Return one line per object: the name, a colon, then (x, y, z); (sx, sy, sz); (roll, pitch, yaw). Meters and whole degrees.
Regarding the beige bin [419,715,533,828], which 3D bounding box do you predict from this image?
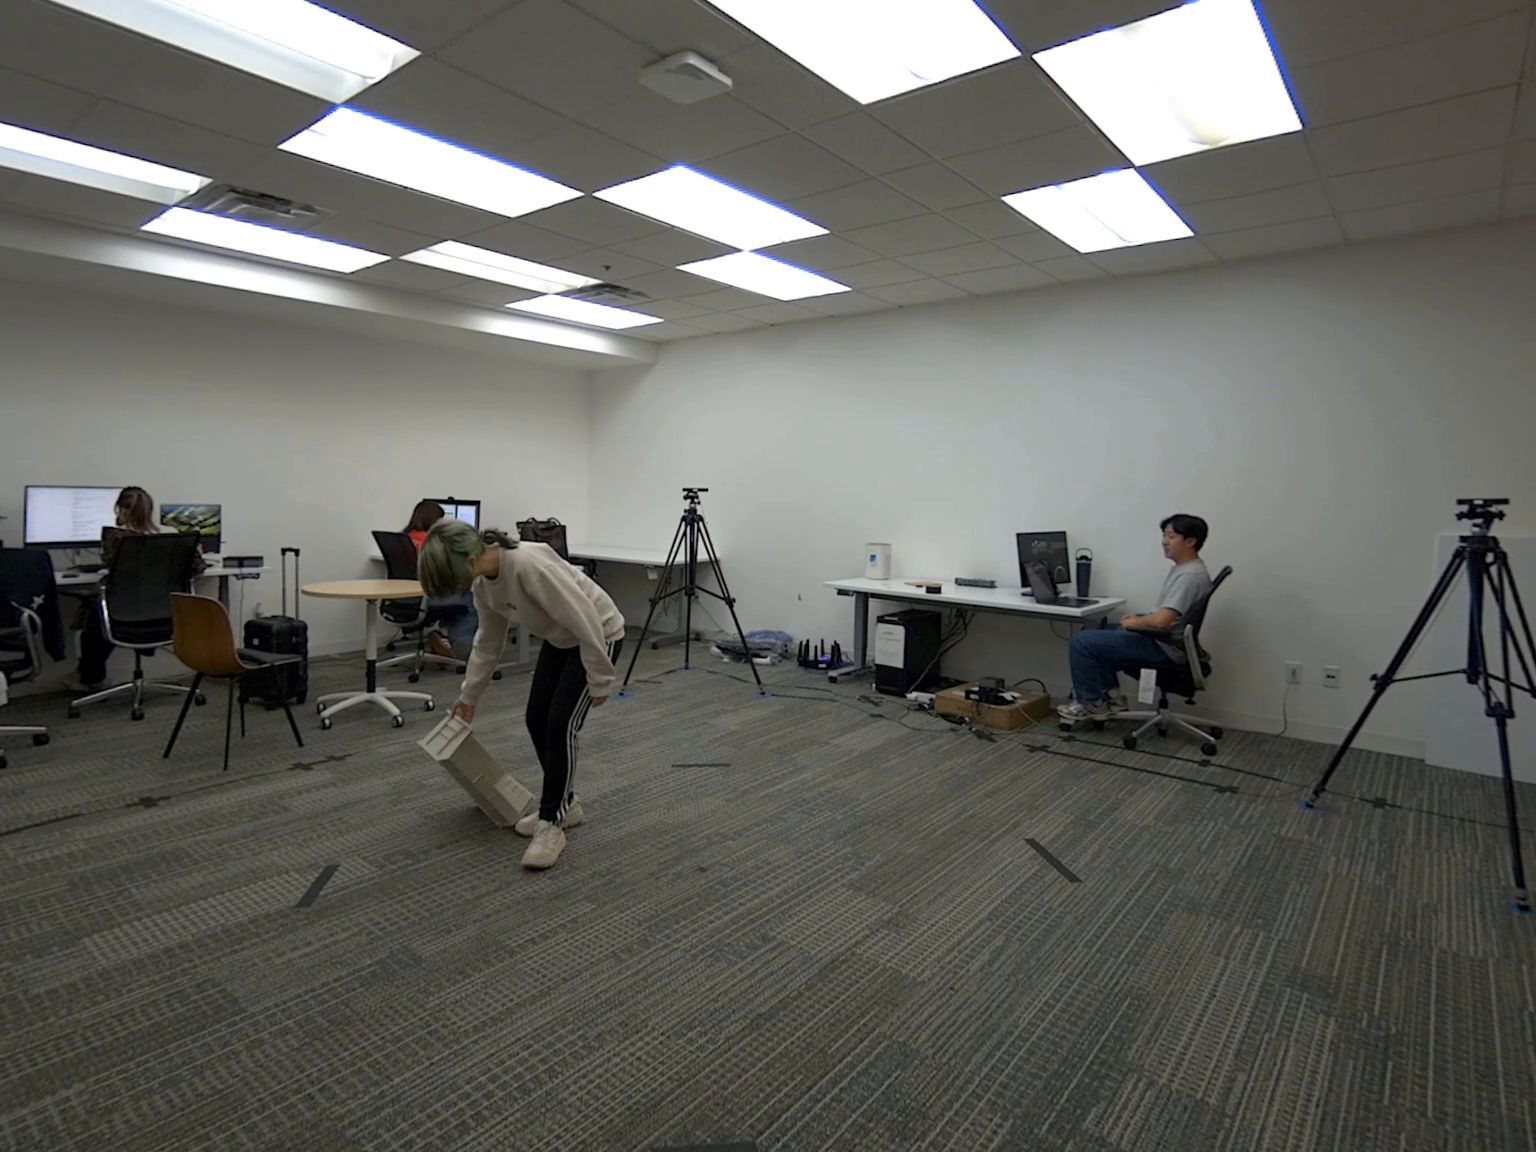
beige bin: (-1.220, 0.801, 3.506); (0.189, 0.410, 0.389); (-45, 26, -23)
